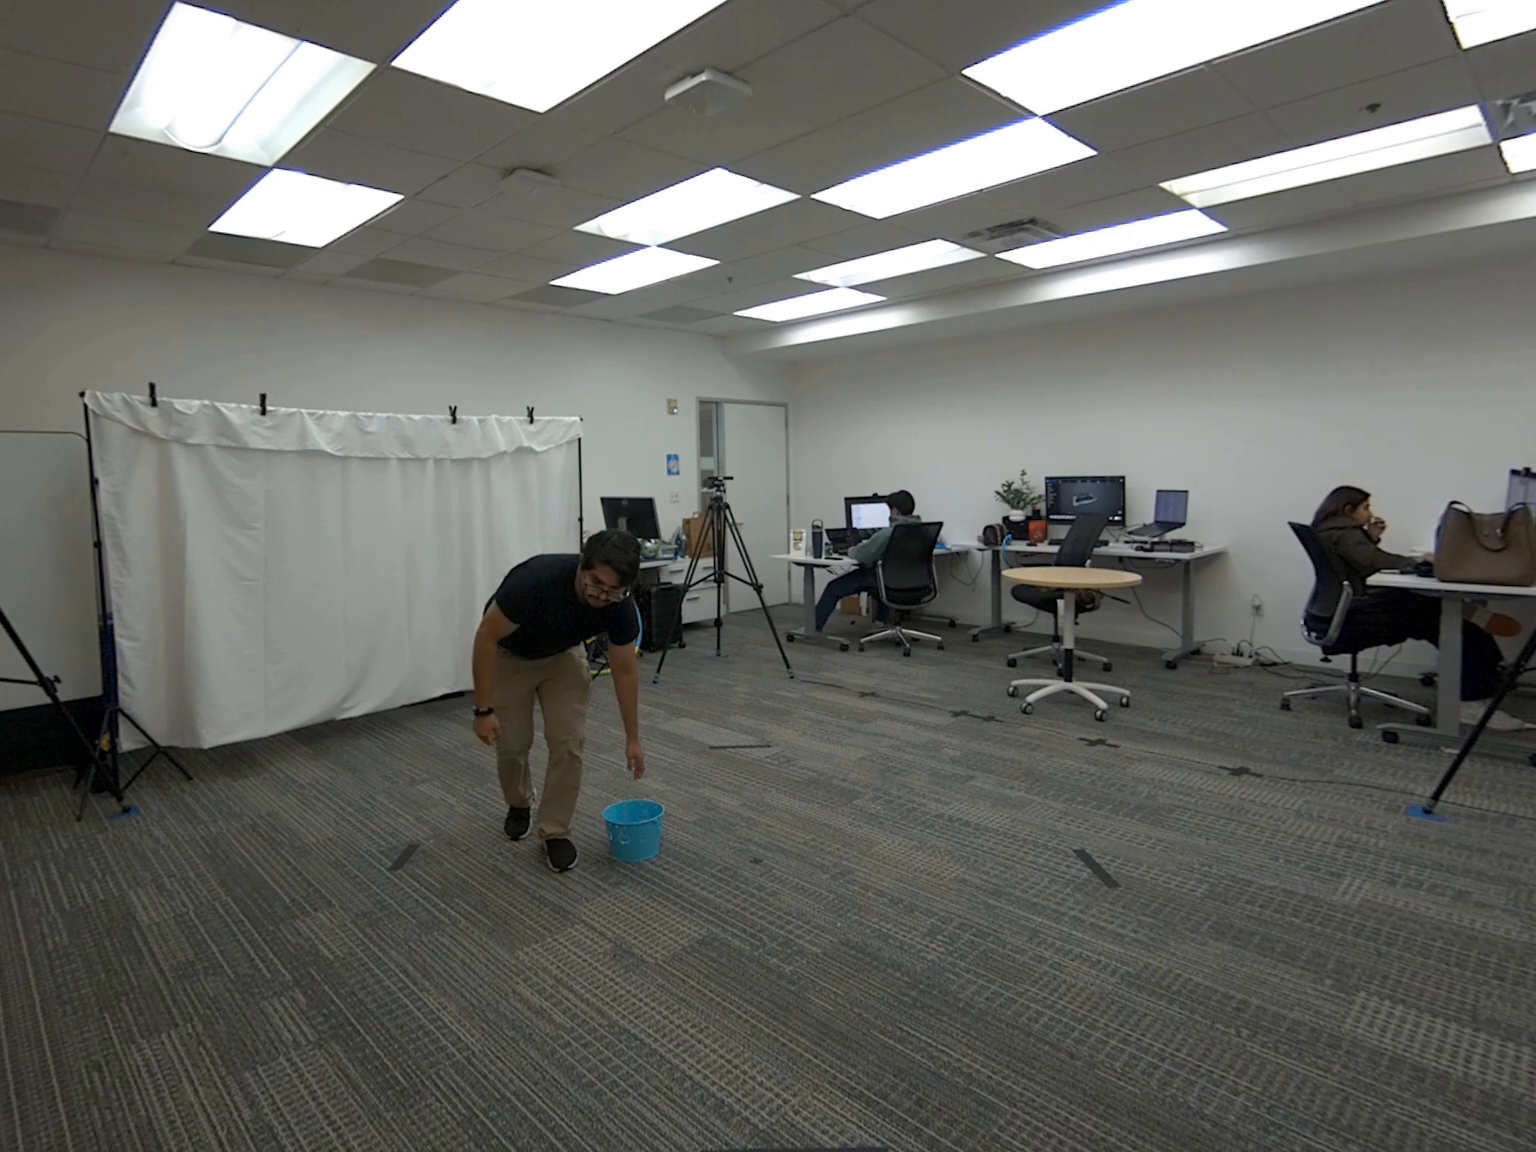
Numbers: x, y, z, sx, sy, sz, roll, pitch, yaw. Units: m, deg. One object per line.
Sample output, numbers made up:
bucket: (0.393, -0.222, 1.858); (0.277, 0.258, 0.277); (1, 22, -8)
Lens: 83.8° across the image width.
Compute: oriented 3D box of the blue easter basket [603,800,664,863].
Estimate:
blue easter basket: (-0.497, 0.952, 3.201); (0.243, 0.155, 0.245); (-2, 6, -2)
